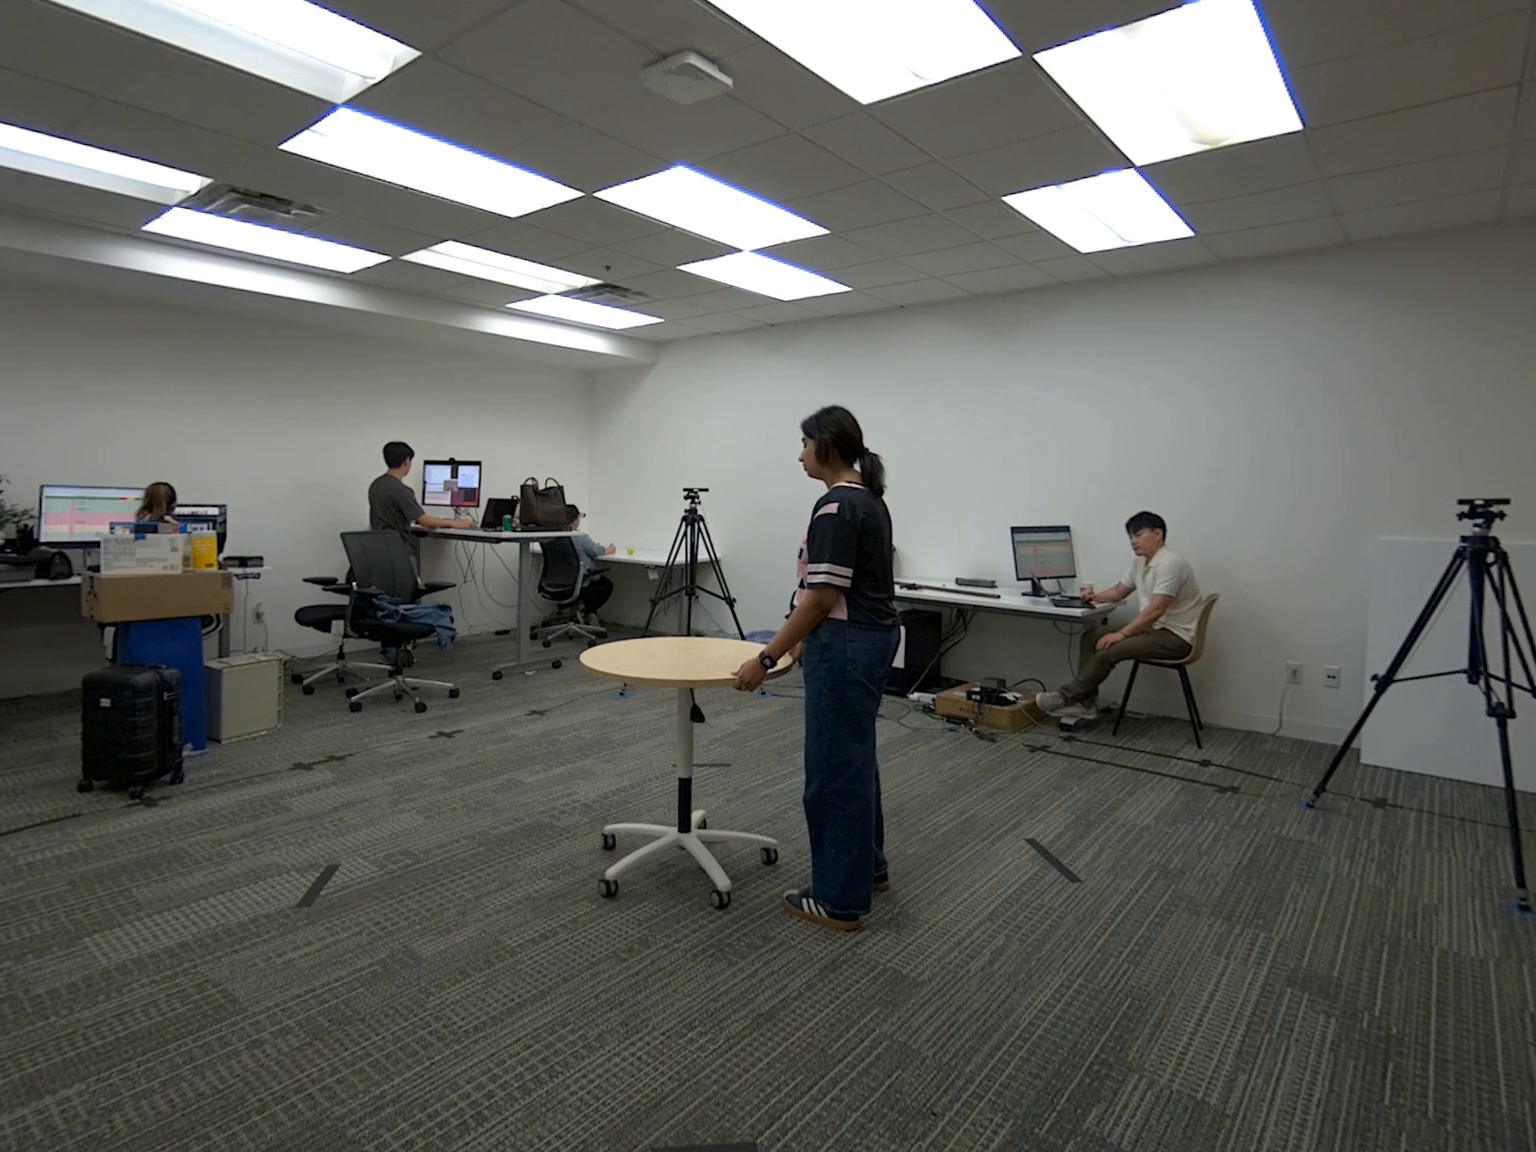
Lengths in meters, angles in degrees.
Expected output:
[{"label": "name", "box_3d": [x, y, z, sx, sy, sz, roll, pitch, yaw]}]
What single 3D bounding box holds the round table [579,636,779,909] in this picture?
[{"label": "round table", "box_3d": [-0.312, 0.681, 3.098, 0.763, 0.791, 0.768, 1, 4, -2]}]
